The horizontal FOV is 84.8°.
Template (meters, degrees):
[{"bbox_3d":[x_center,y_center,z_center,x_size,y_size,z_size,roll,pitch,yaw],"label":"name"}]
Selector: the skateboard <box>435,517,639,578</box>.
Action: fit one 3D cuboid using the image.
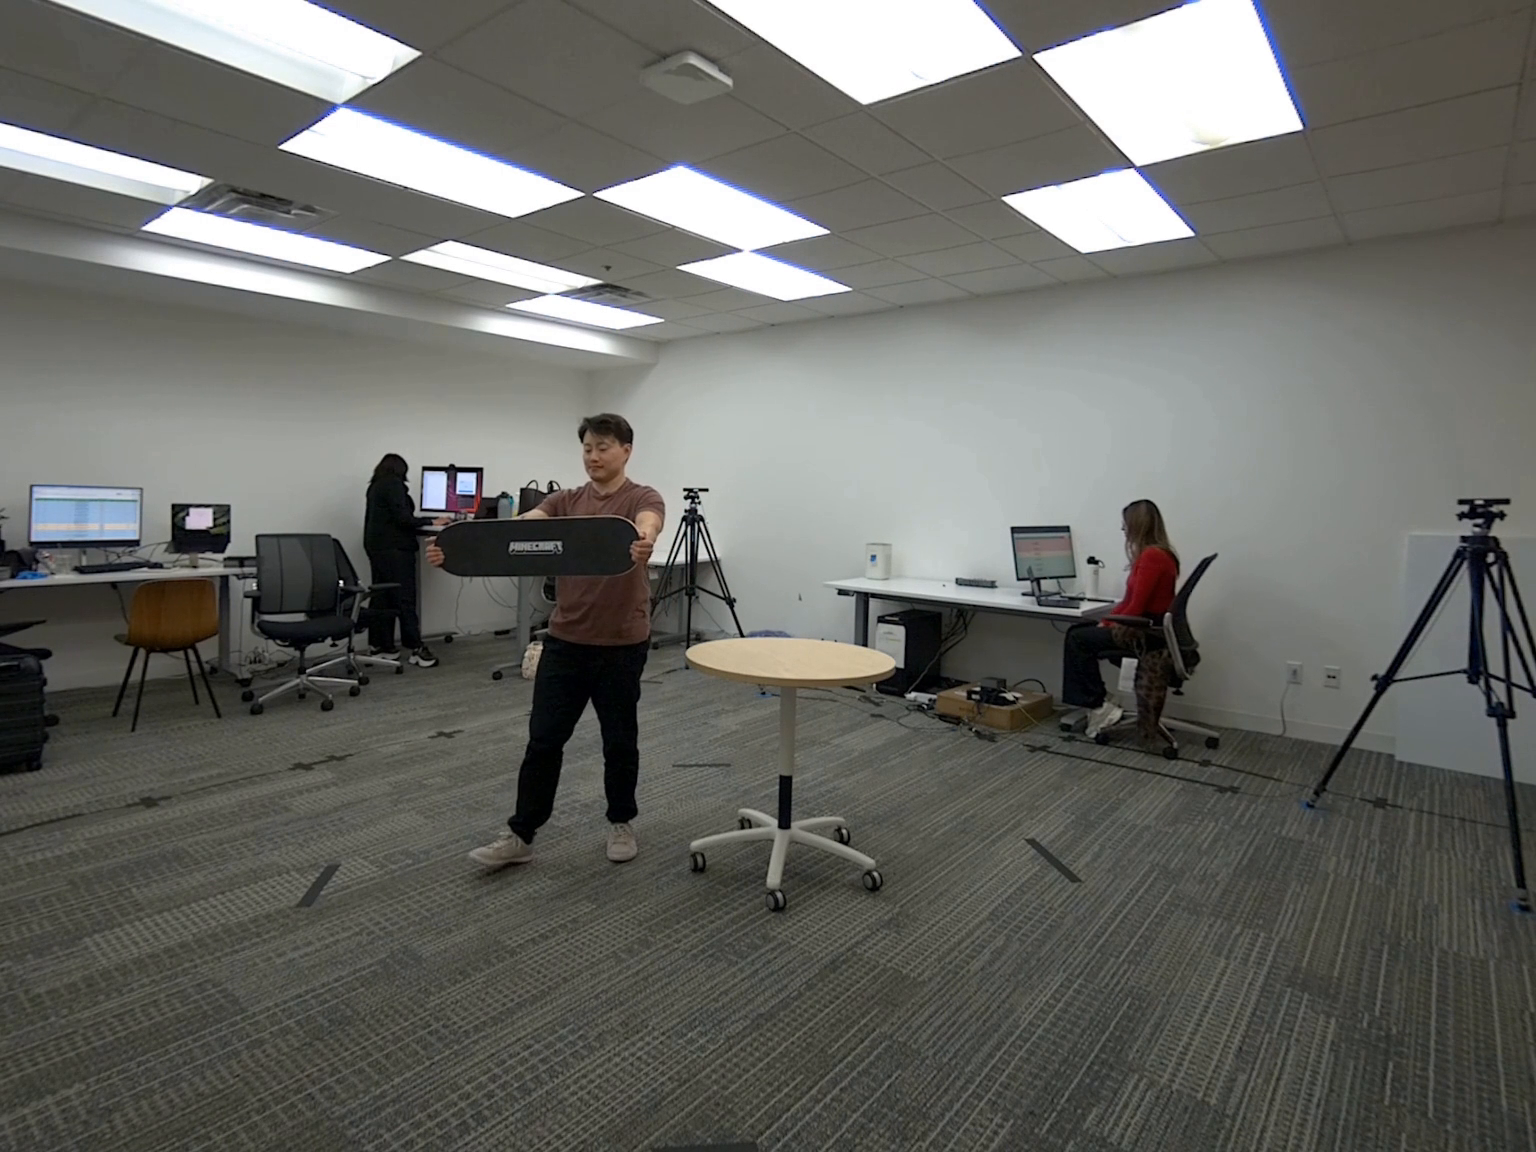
[{"bbox_3d":[-0.778,-0.101,2.832,0.801,0.193,0.108,0,2,20],"label":"skateboard"}]
